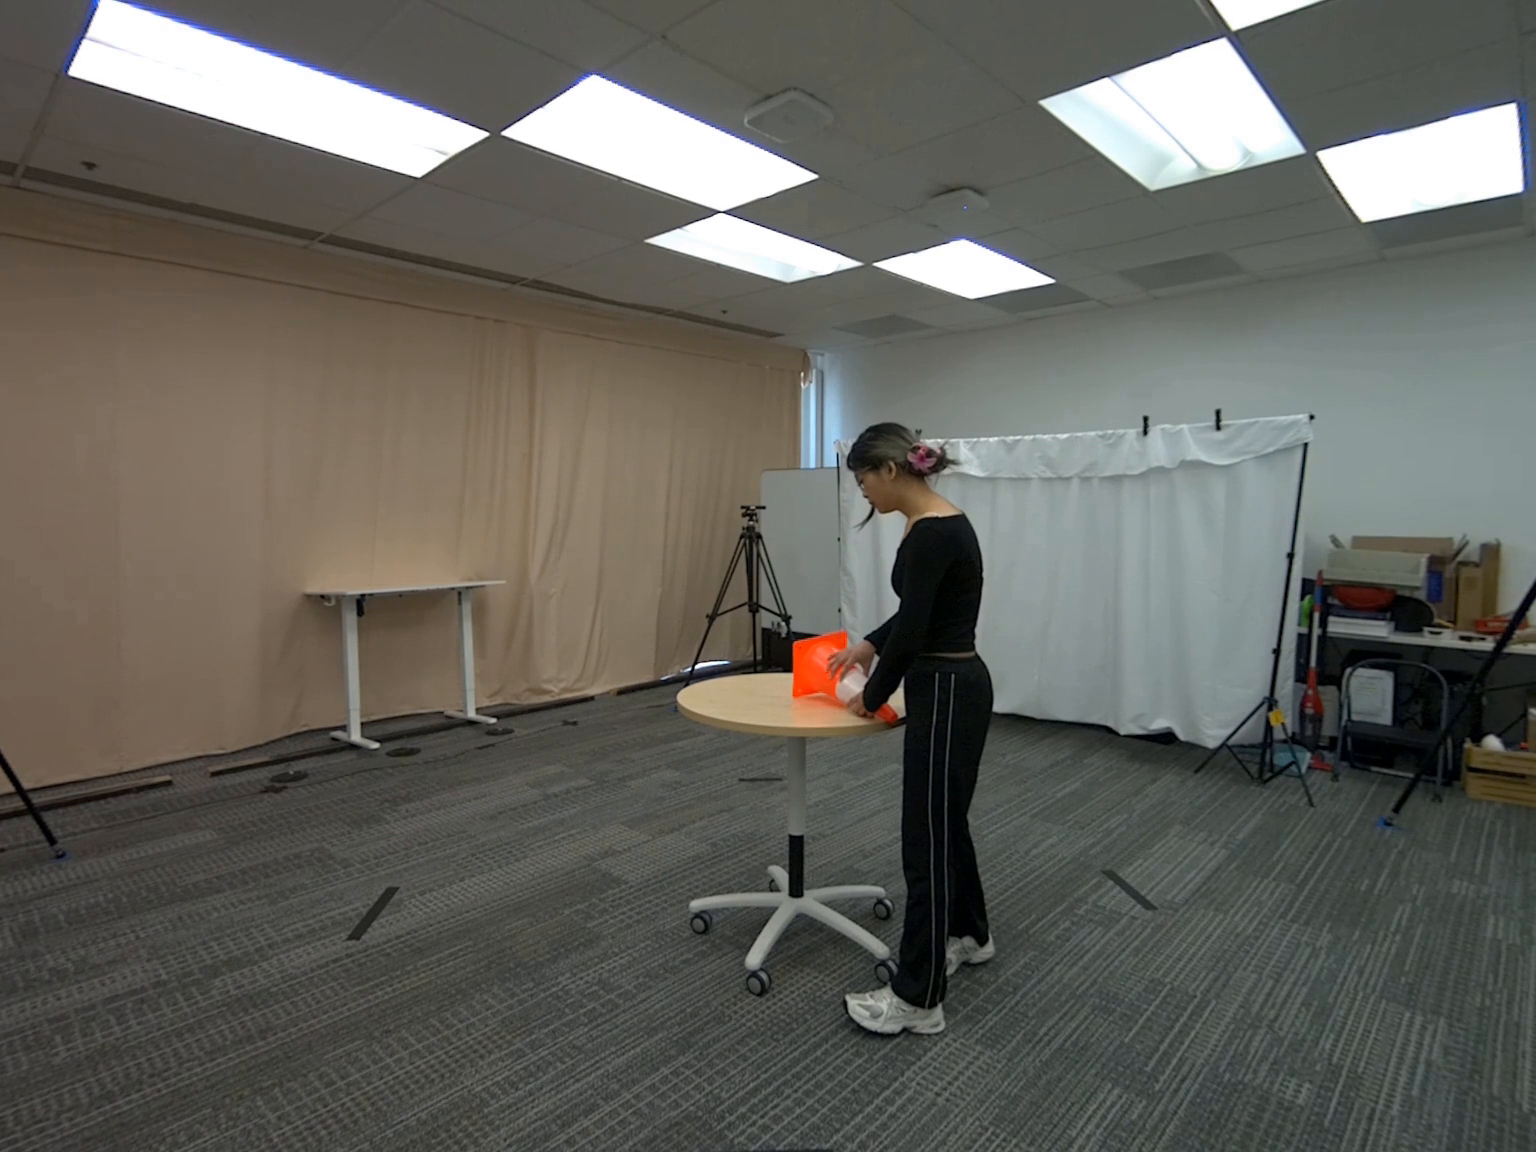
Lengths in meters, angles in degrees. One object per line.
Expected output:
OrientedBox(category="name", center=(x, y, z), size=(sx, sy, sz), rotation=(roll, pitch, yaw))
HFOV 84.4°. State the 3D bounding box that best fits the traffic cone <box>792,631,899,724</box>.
OrientedBox(category="traffic cone", center=(0.255, 0.342, 2.500), size=(0.201, 0.201, 0.396), rotation=(-9, 21, -23))
